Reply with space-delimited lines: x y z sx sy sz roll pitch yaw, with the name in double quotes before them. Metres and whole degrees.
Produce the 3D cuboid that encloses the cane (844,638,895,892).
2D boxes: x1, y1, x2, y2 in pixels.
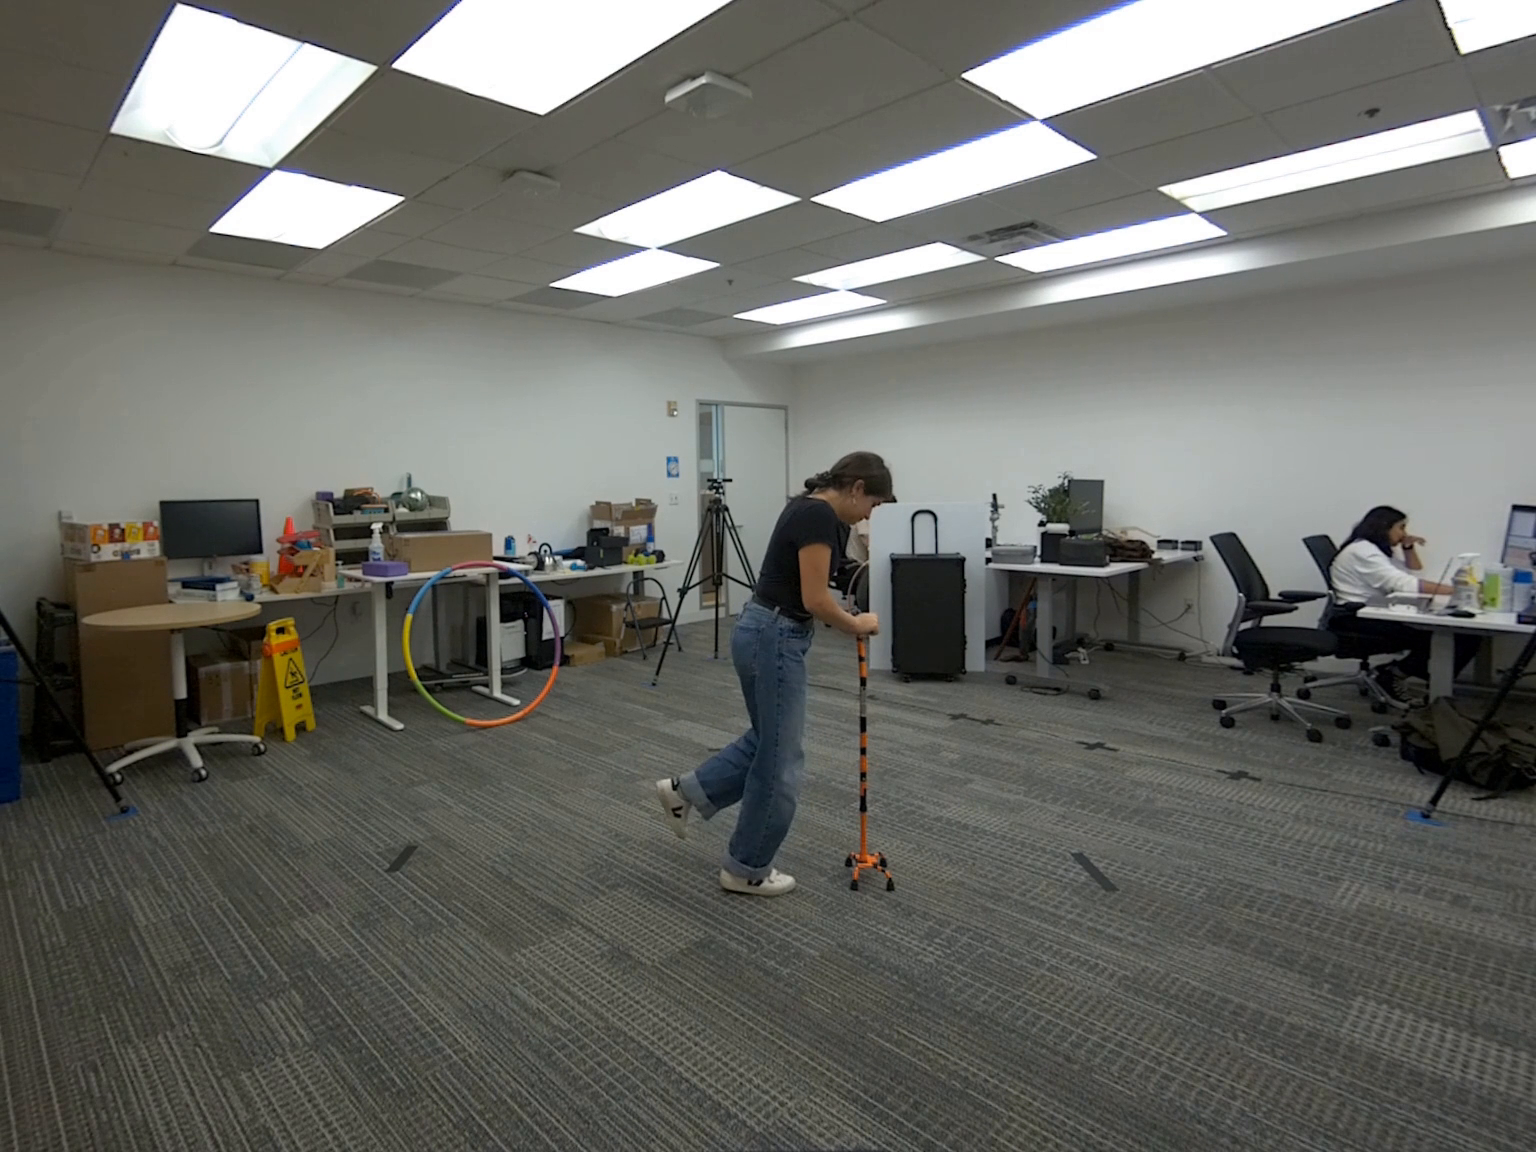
"cane" 0.347 0.595 2.954 0.152 0.905 0.207 -1 3 0
